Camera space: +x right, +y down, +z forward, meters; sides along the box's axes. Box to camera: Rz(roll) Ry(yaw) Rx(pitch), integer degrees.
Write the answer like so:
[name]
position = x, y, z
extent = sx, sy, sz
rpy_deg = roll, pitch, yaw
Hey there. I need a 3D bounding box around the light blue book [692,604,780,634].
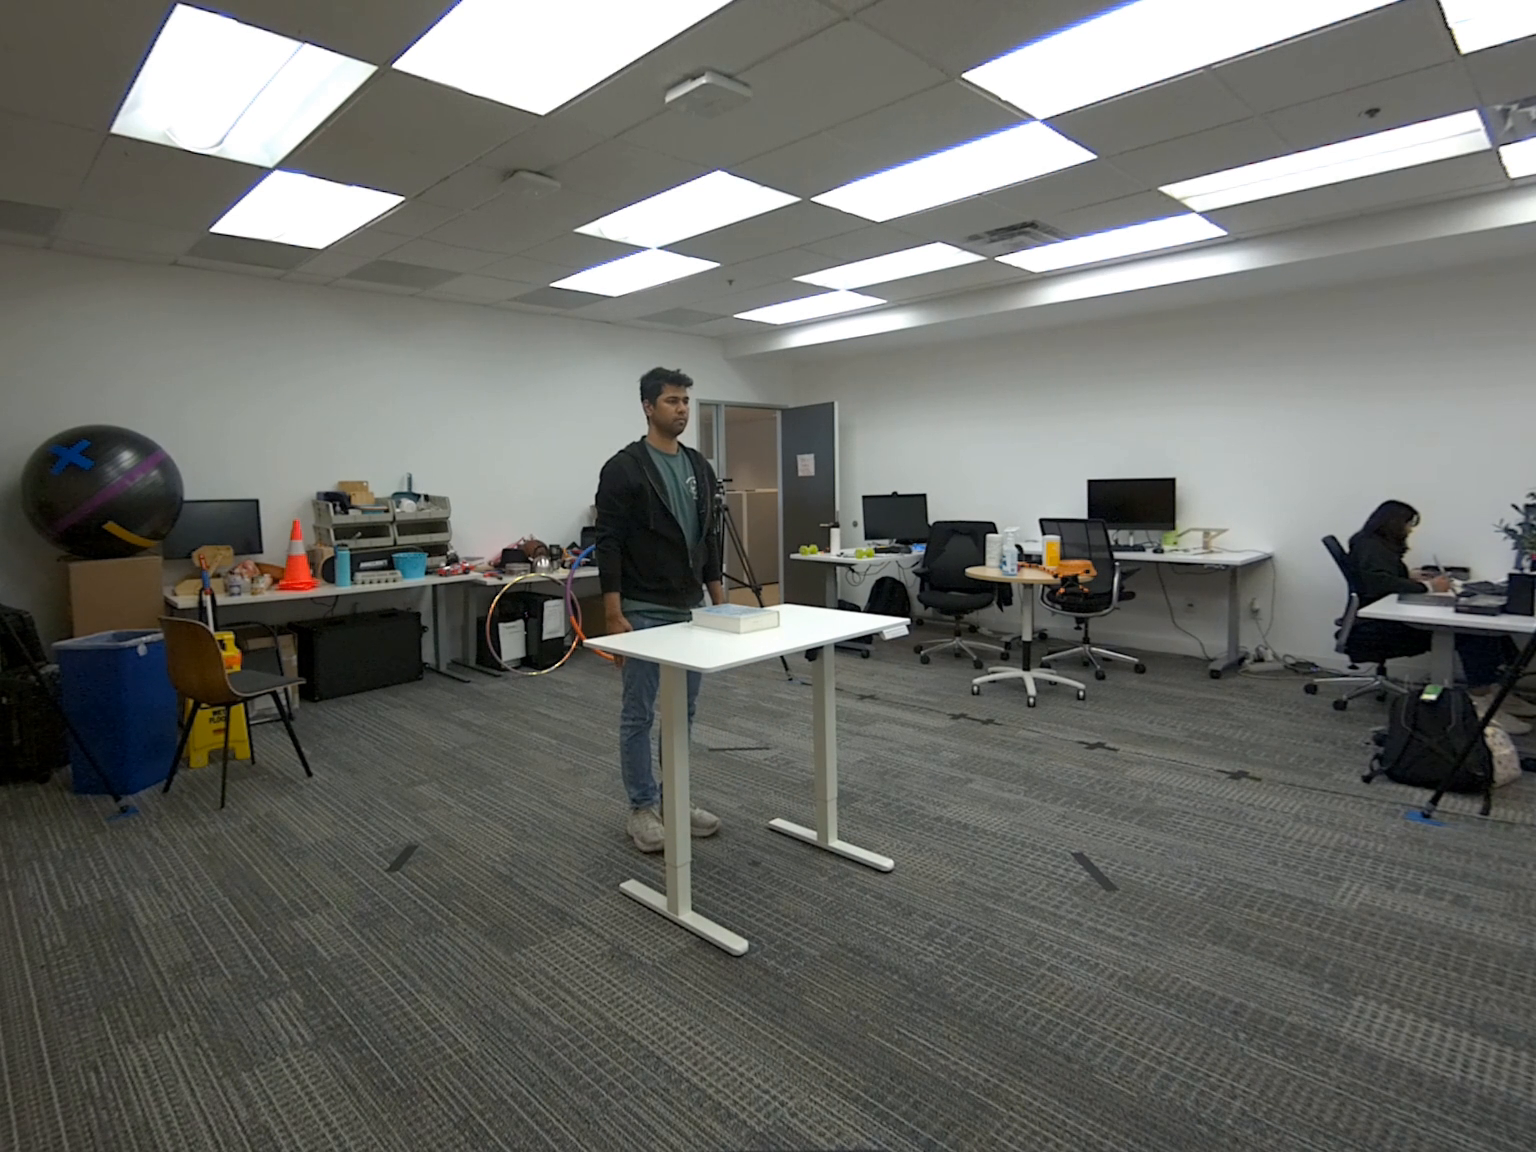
[light blue book]
position = -0.119, 0.151, 2.986
extent = 0.186, 0.059, 0.269
rpy_deg = -6, 8, -42
